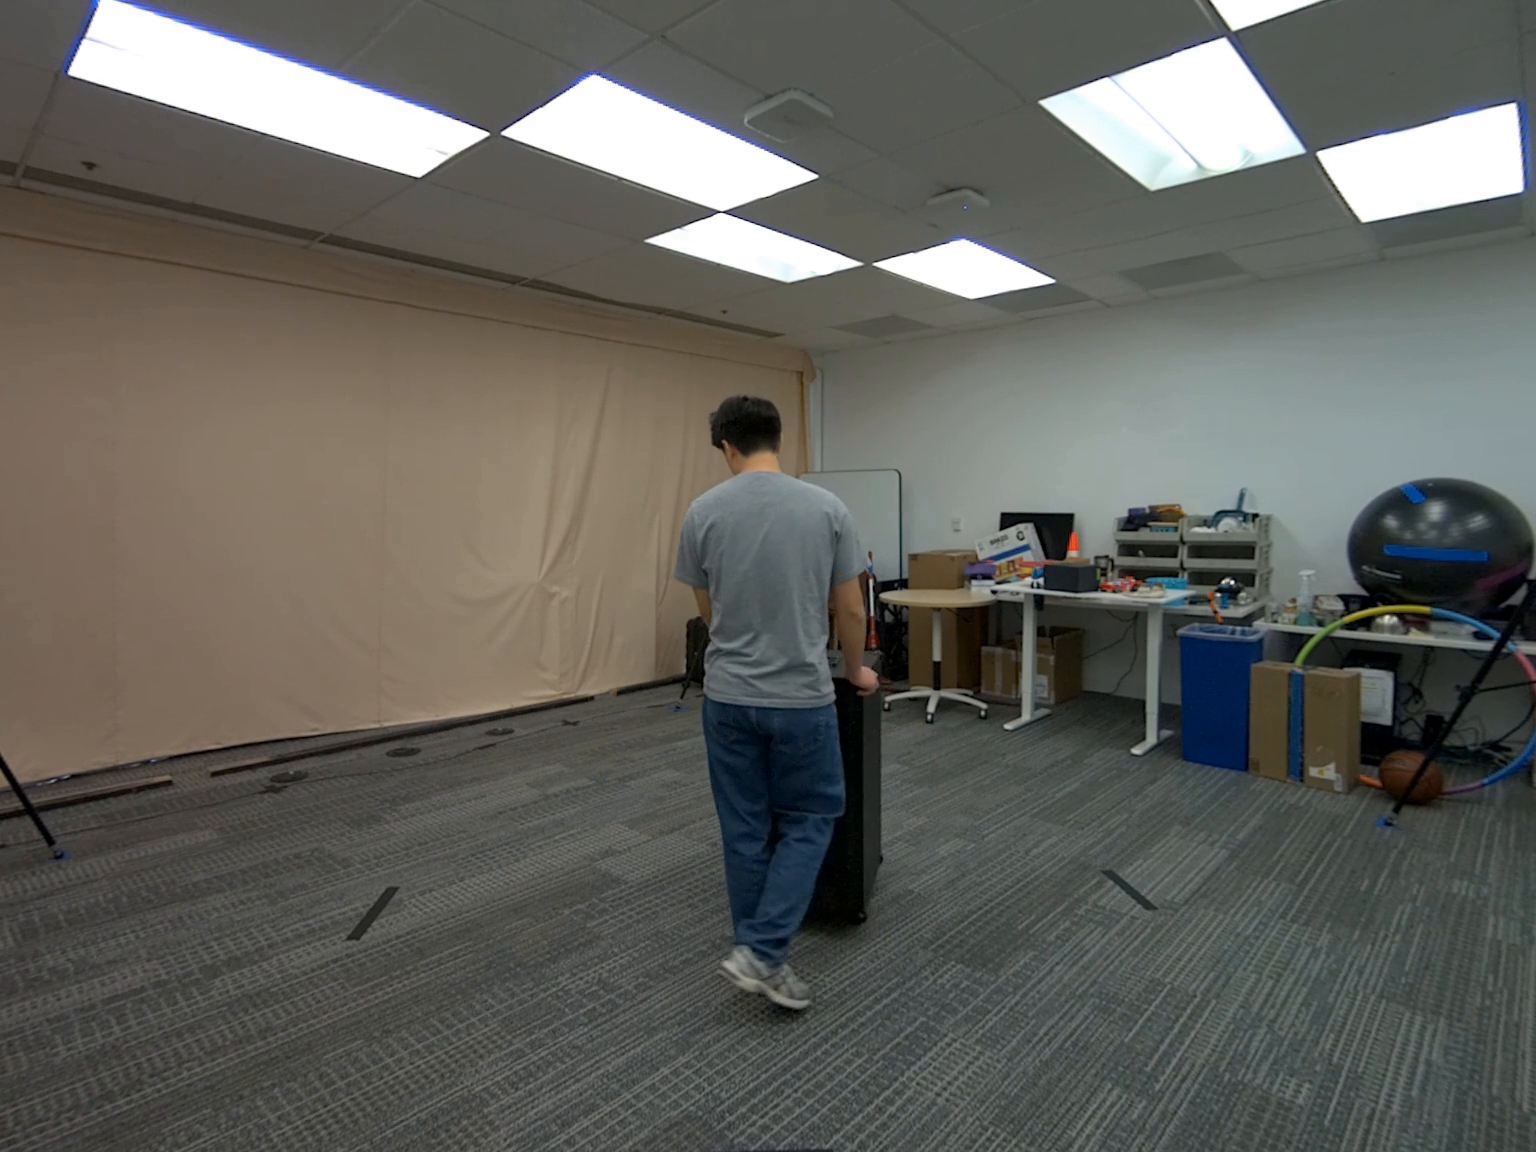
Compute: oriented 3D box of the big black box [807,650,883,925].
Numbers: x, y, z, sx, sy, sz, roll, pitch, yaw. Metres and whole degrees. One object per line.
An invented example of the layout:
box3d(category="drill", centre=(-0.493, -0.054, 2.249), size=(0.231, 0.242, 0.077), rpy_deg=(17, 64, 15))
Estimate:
box3d(category="big black box", centre=(0.185, 0.722, 2.927), size=(0.403, 0.859, 0.514), rpy_deg=(0, 5, 15))
